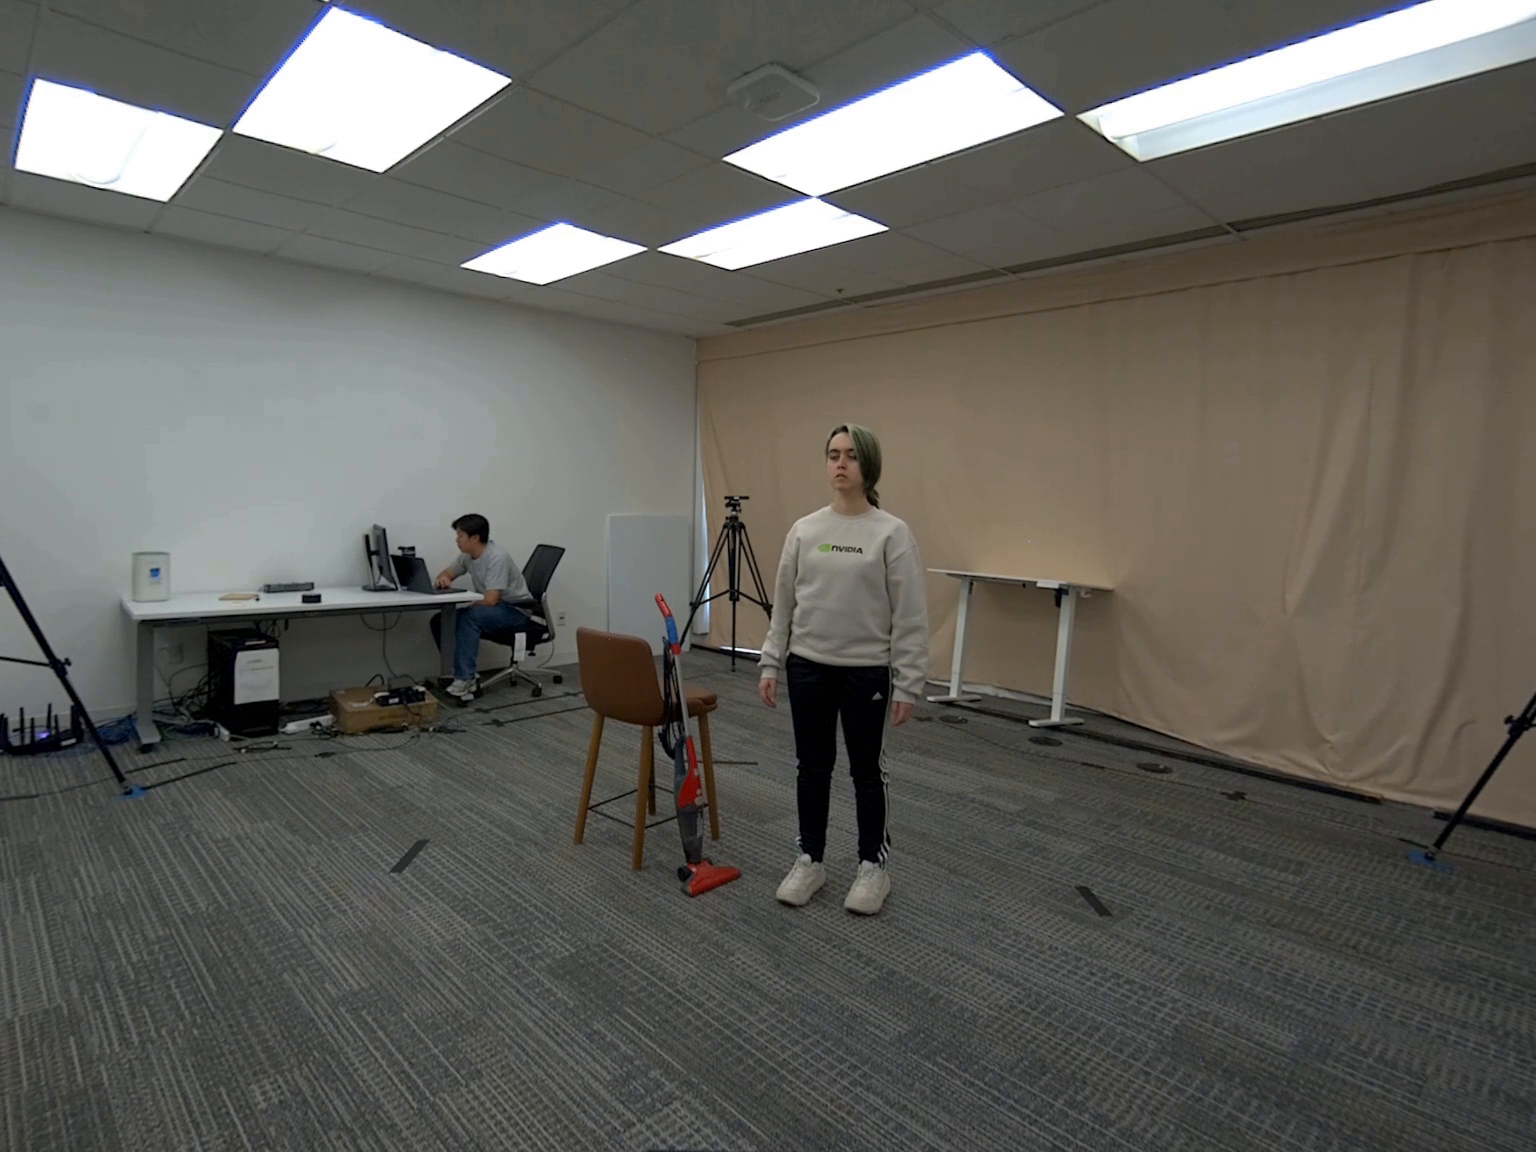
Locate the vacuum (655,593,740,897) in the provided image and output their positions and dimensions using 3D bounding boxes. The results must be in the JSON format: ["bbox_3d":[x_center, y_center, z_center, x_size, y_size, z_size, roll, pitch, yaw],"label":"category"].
[{"bbox_3d":[-0.324,0.593,3.135,0.247,1.057,0.146,-2,-11,-34],"label":"vacuum"}]
